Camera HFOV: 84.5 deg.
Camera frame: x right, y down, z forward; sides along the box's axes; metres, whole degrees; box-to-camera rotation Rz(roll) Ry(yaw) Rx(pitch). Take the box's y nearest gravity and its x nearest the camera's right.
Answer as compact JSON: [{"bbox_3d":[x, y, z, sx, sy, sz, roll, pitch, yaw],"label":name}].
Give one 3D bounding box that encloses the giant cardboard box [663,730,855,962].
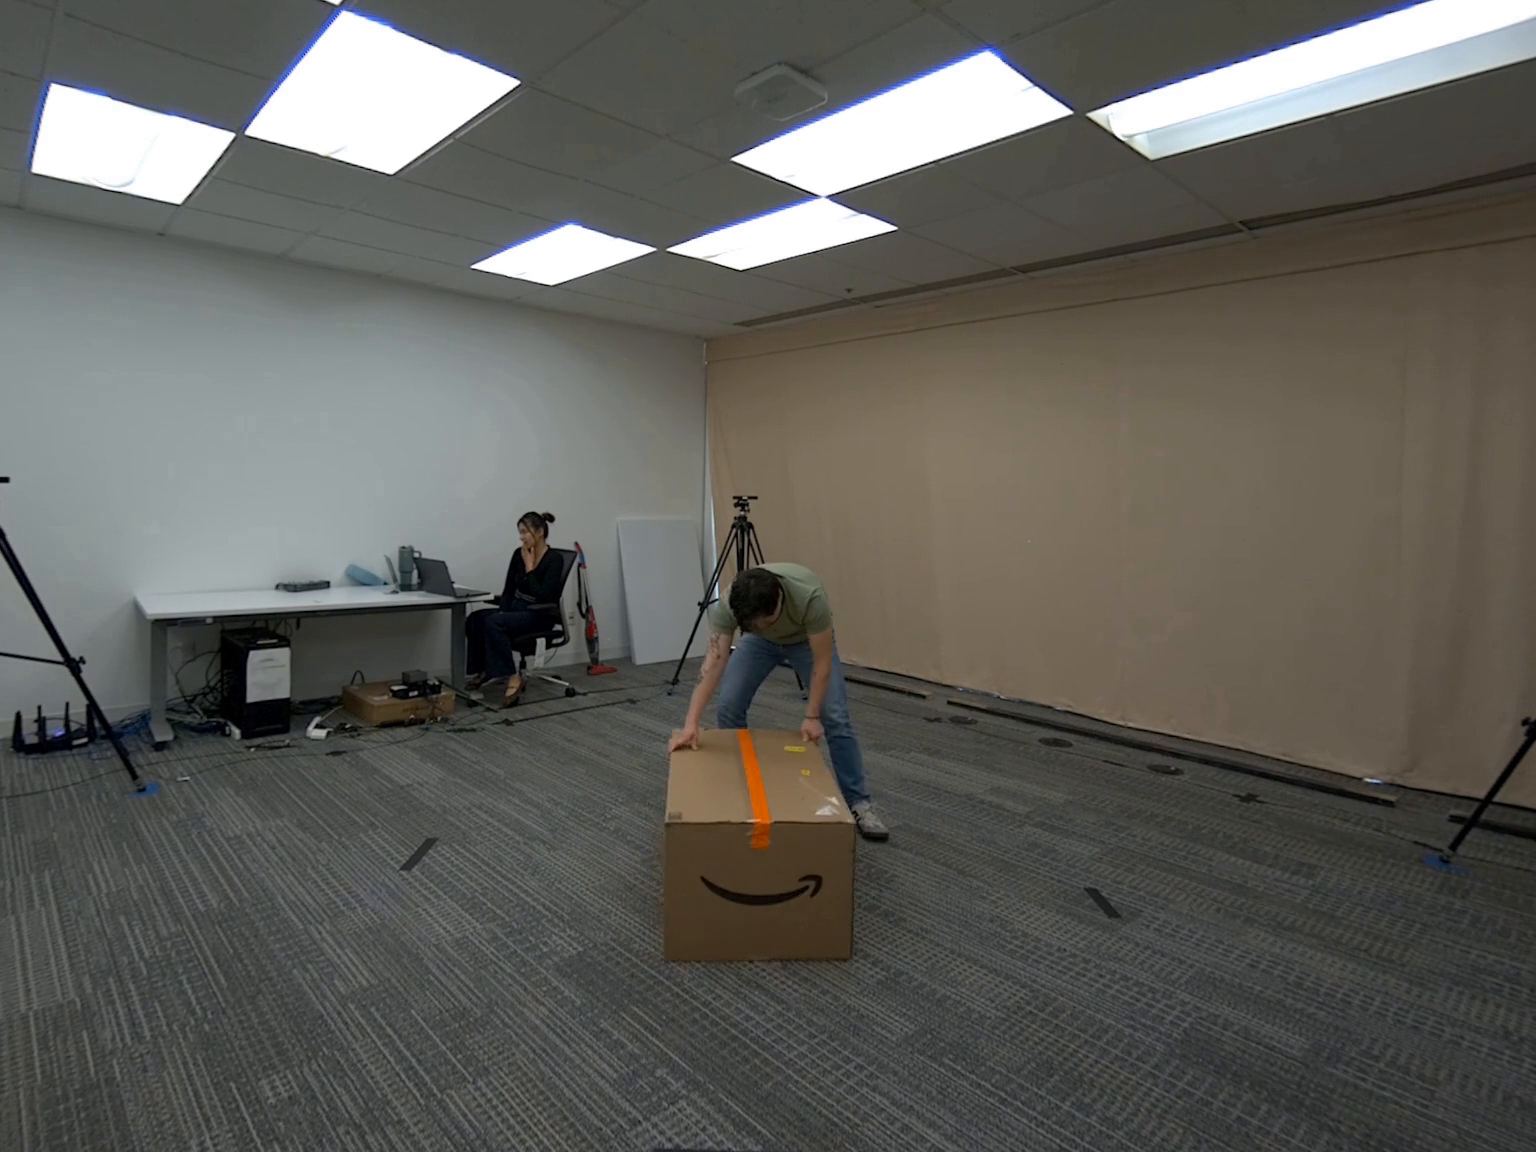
[{"bbox_3d":[-0.092,0.895,3.023,0.576,0.425,1.032,1,4,-5],"label":"giant cardboard box"}]
